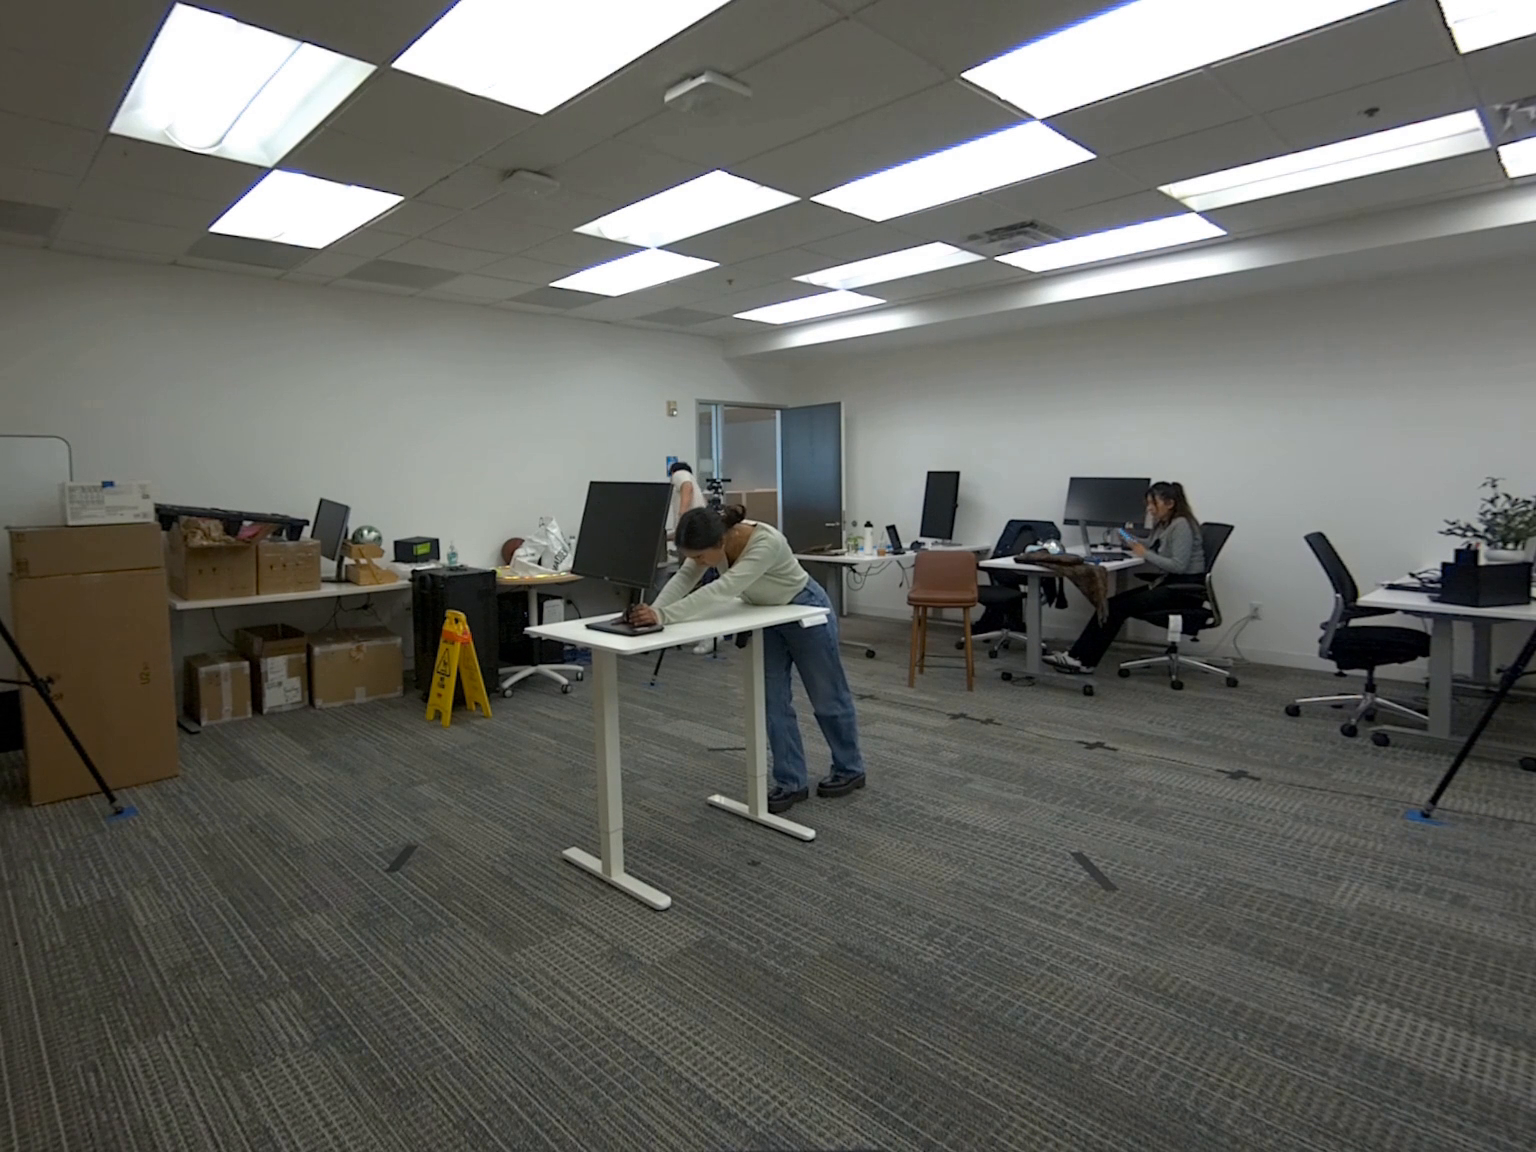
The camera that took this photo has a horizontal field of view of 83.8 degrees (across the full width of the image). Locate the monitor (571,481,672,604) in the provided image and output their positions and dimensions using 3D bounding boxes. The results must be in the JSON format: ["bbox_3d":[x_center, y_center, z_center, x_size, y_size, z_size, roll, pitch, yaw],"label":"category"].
[{"bbox_3d":[-0.494,-0.067,2.977,0.182,0.521,0.556,-1,5,-42],"label":"monitor"}]
